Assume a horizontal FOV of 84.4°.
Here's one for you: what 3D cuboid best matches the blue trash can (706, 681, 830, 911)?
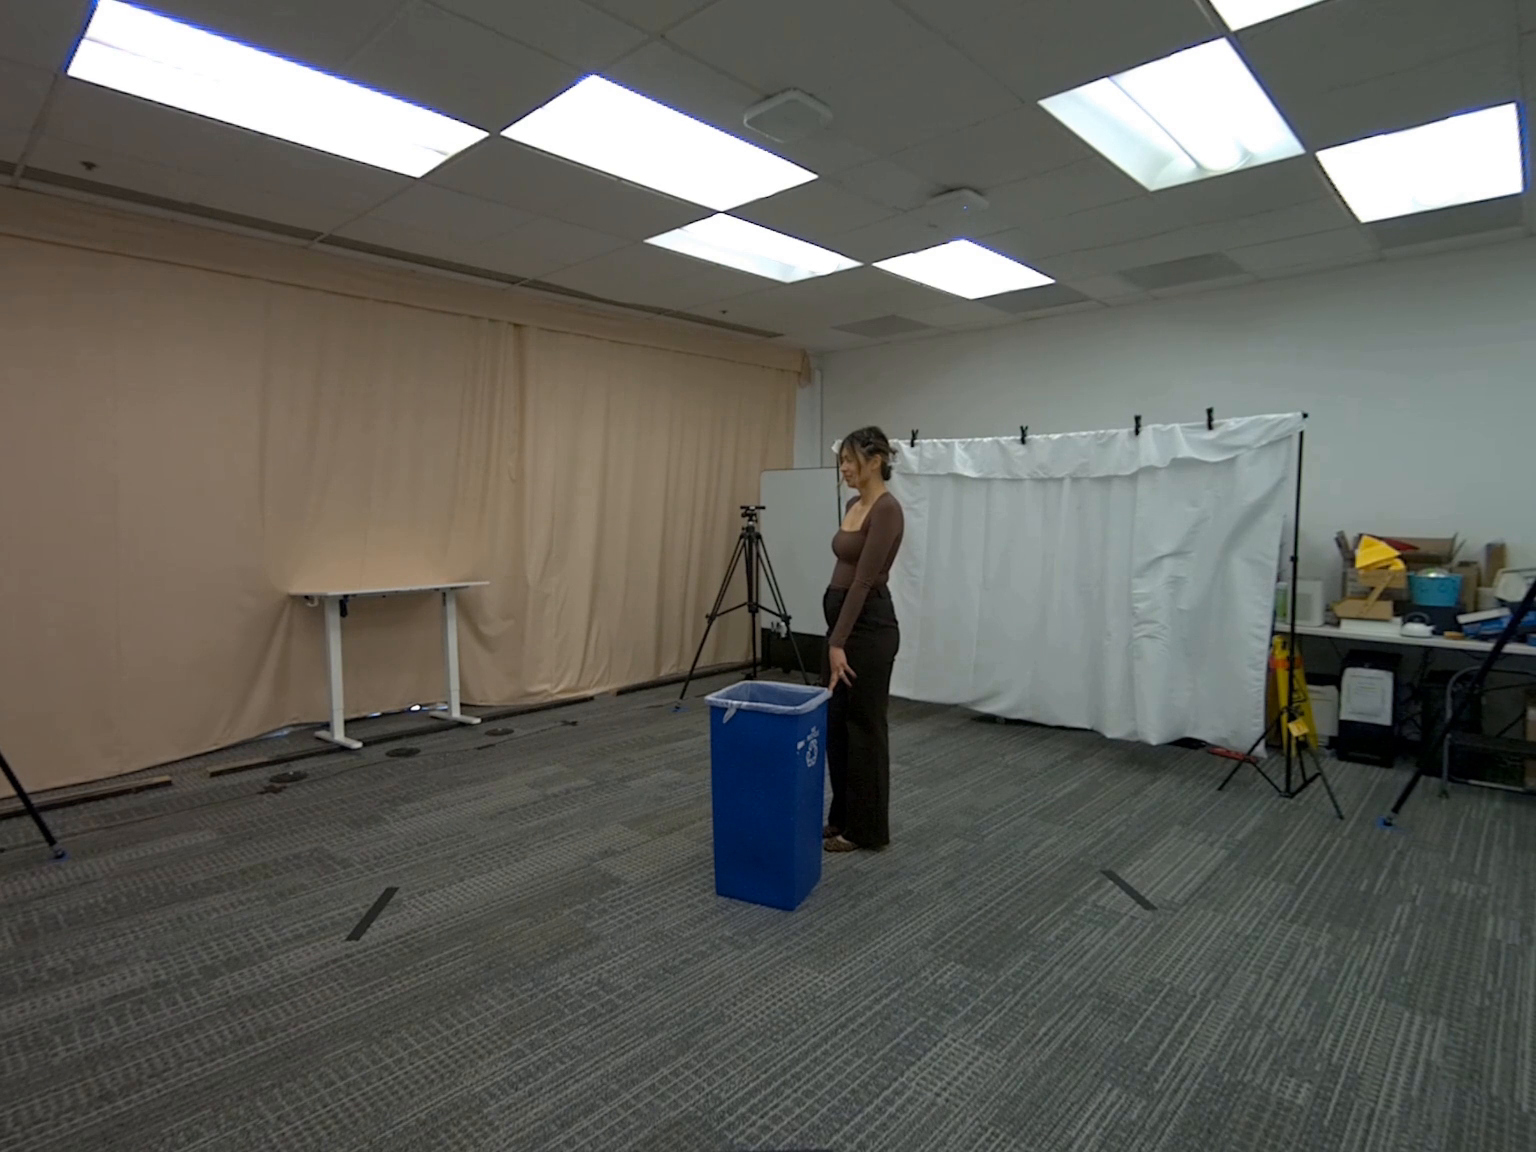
[{"bbox_3d":[0.006,0.777,3.070,0.388,0.712,0.365,2,4,25],"label":"blue trash can"}]
